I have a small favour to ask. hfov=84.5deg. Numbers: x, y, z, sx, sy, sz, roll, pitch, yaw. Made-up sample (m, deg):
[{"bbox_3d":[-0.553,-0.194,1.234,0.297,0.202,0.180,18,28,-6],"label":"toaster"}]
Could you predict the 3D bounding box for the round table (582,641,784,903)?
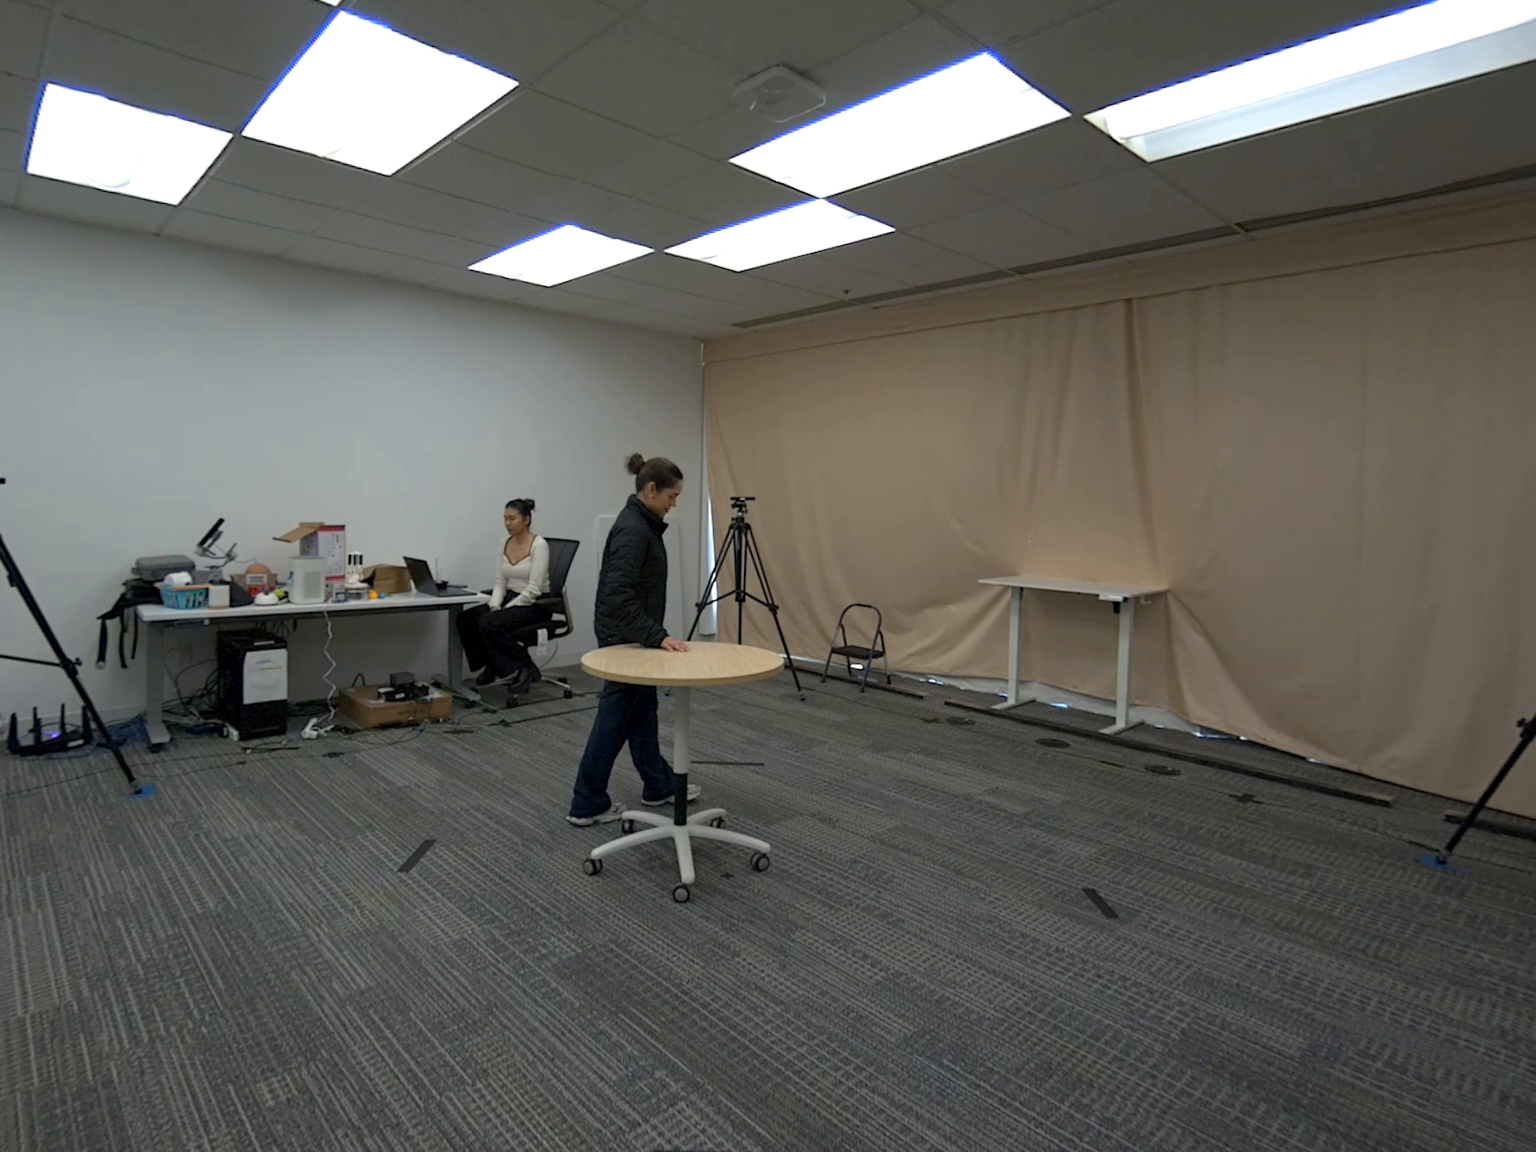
[{"bbox_3d":[-0.327,0.699,3.209,0.784,0.785,0.787,1,4,-1],"label":"round table"}]
